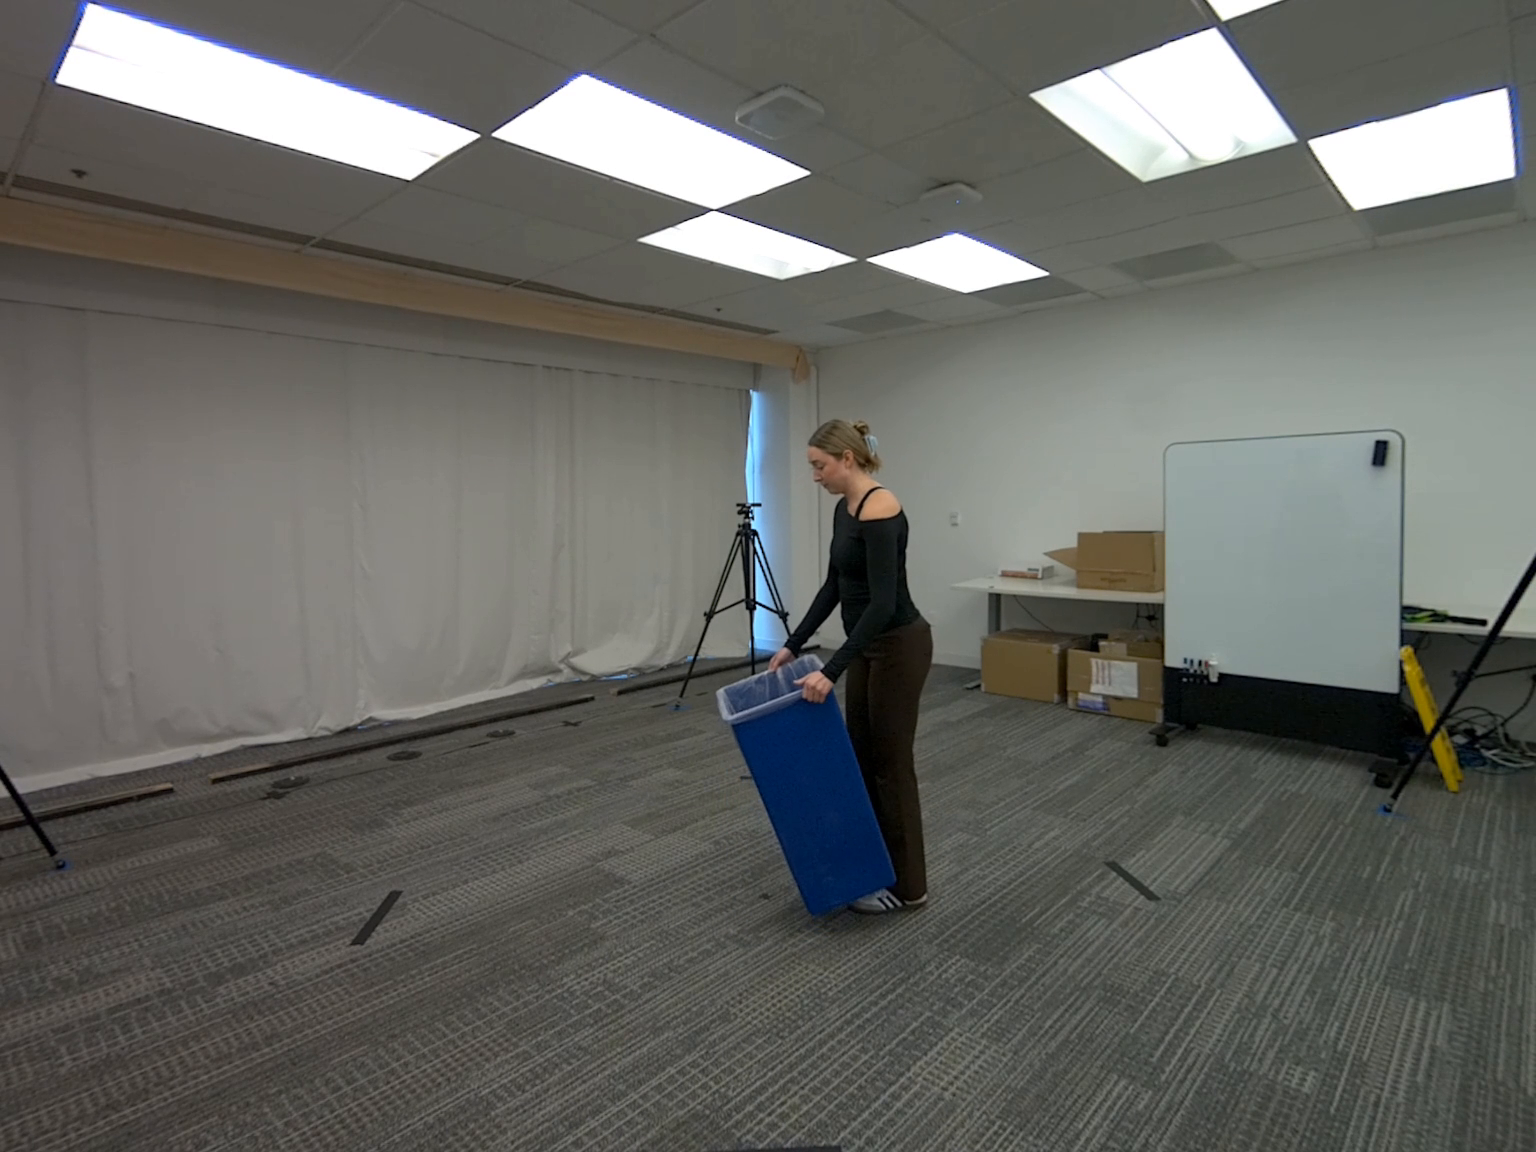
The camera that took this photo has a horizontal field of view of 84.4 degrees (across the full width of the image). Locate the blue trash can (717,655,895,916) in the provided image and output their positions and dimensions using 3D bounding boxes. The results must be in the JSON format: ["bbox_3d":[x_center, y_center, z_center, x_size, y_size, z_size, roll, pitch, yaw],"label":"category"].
[{"bbox_3d":[0.137,0.688,2.781,0.377,0.710,0.377,-20,6,-4],"label":"blue trash can"}]
